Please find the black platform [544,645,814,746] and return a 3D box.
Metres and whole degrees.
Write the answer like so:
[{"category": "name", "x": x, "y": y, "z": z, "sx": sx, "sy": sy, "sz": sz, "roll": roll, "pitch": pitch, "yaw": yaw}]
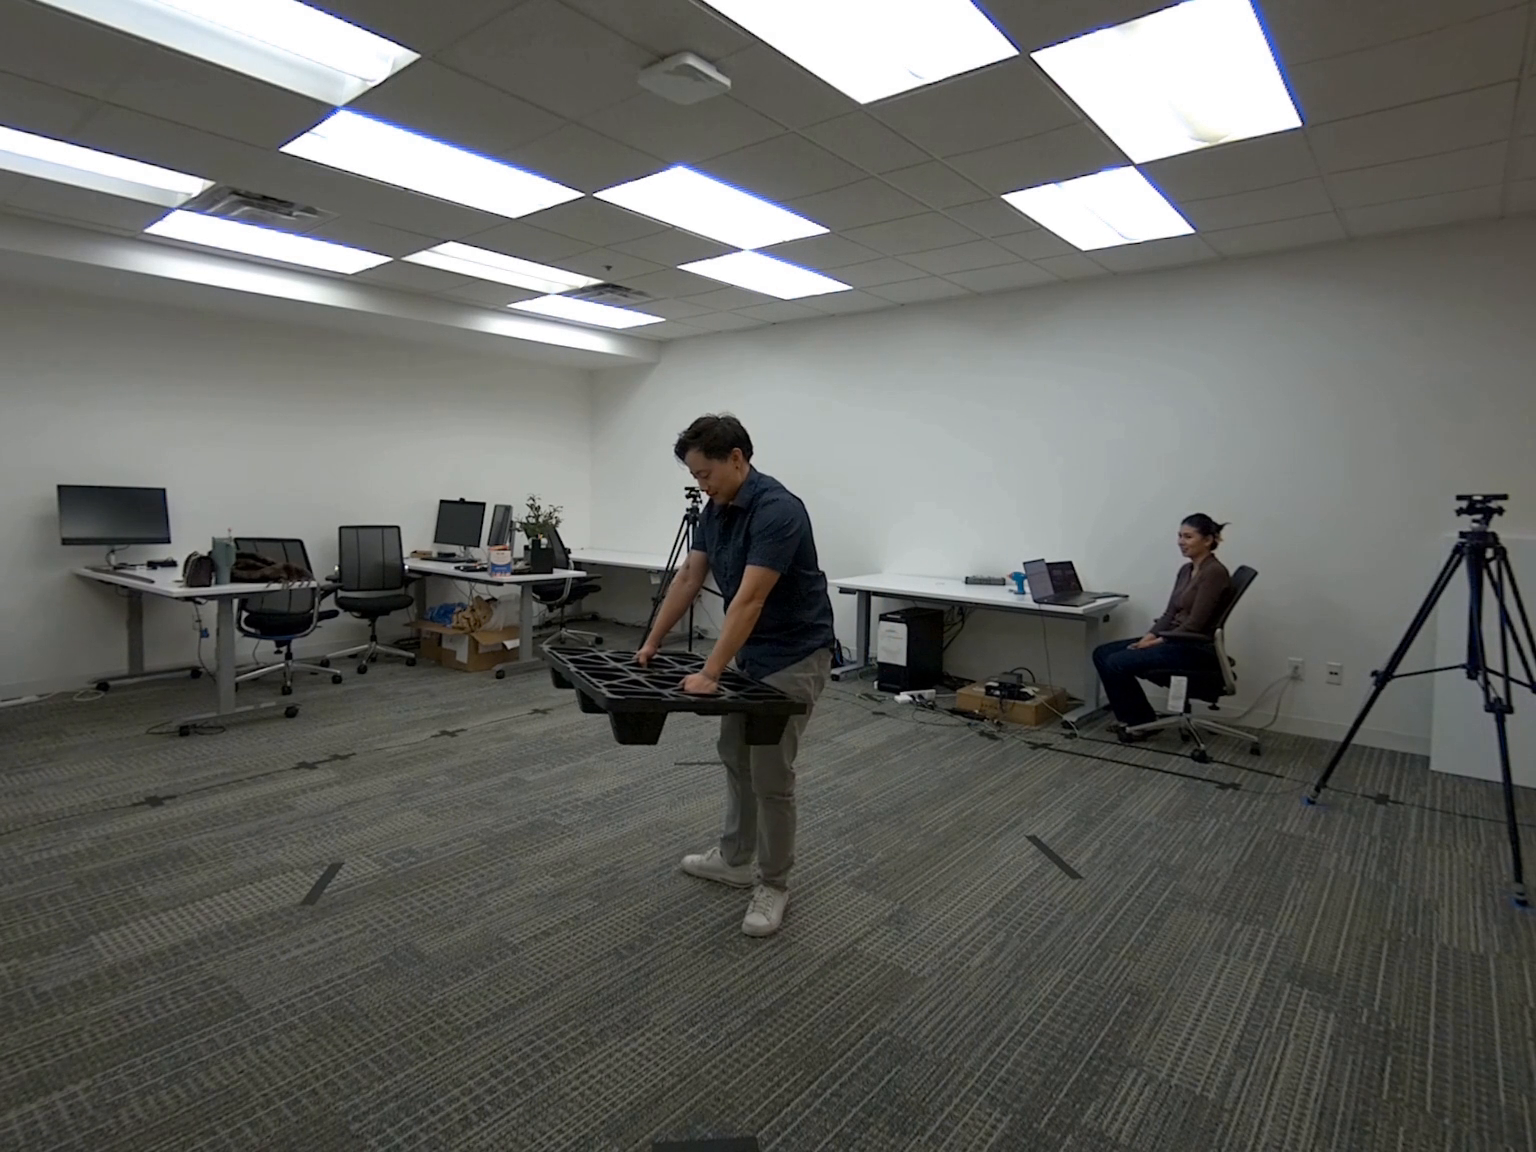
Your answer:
[{"category": "black platform", "x": -0.344, "y": 0.359, "z": 2.625, "sx": 0.589, "sy": 0.143, "sz": 0.828, "roll": 6, "pitch": 3, "yaw": -26}]
